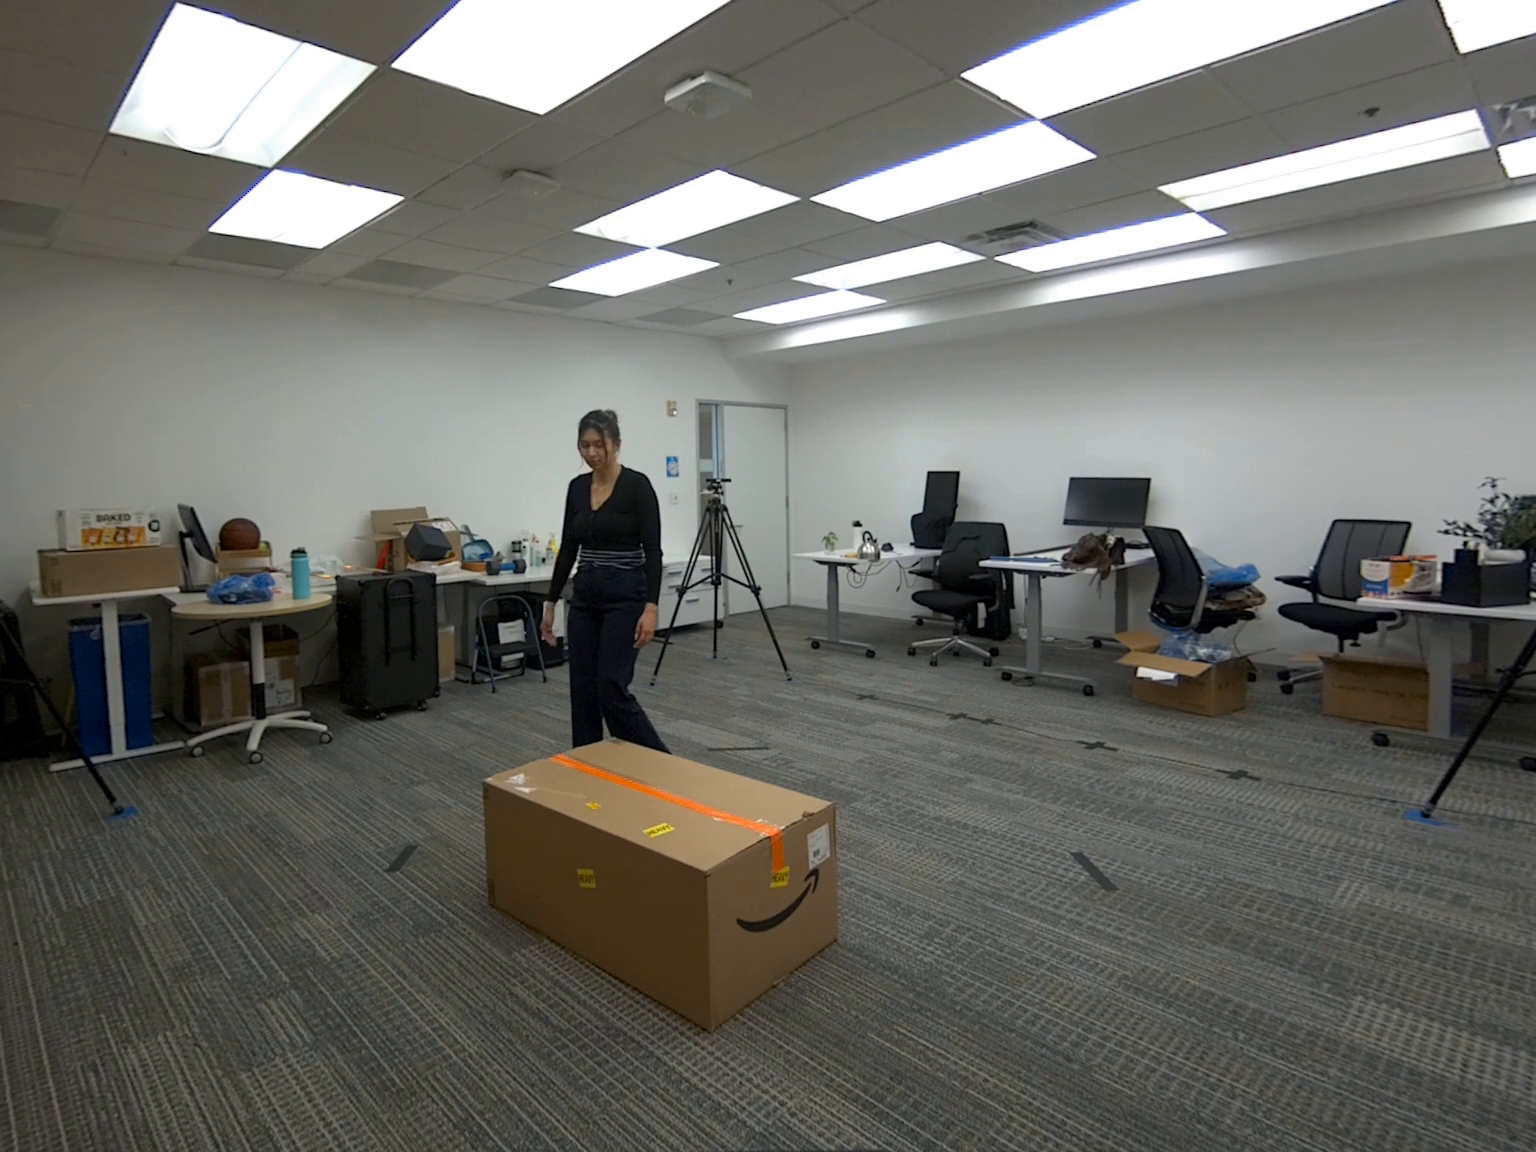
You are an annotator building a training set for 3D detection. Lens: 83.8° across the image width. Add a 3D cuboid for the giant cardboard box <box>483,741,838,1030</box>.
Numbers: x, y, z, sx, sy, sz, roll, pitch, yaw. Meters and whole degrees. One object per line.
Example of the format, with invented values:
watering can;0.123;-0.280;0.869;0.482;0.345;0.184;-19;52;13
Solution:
giant cardboard box;-0.364;0.886;2.698;1.057;0.424;0.563;4;8;41
